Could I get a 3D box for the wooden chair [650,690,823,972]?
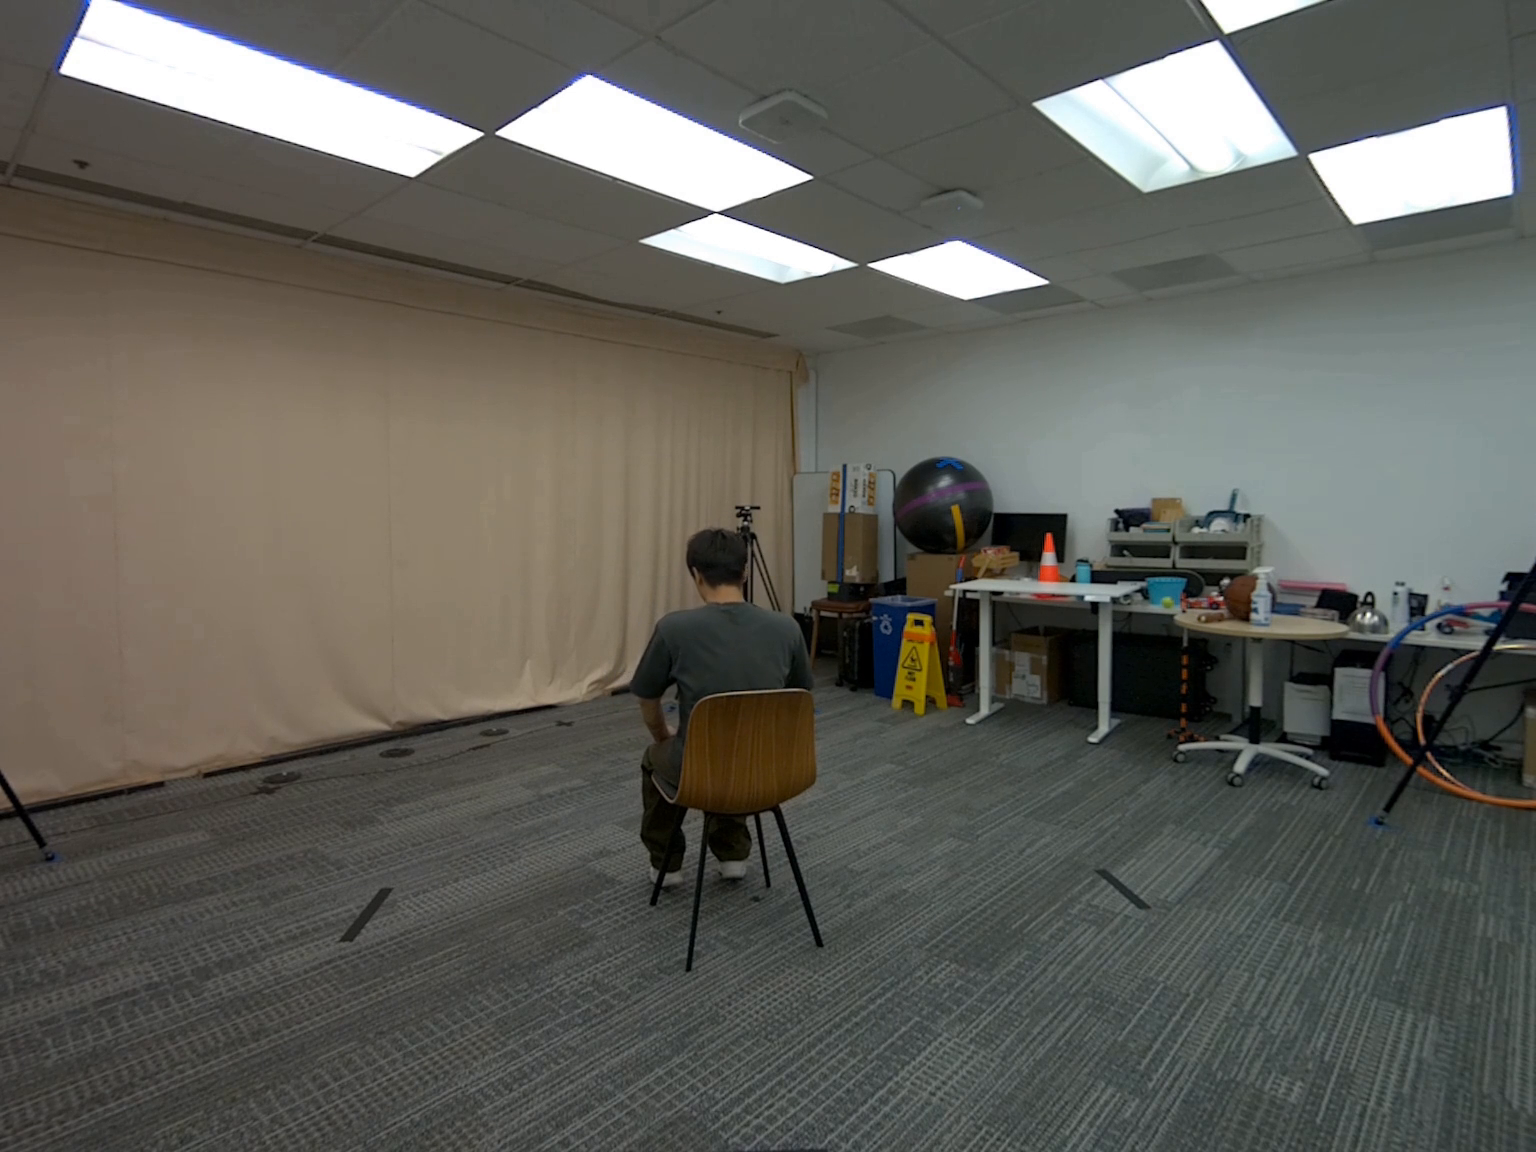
[{"bbox_3d":[-0.117,0.729,2.776,0.469,0.873,0.536,-2,8,-20],"label":"wooden chair"}]
